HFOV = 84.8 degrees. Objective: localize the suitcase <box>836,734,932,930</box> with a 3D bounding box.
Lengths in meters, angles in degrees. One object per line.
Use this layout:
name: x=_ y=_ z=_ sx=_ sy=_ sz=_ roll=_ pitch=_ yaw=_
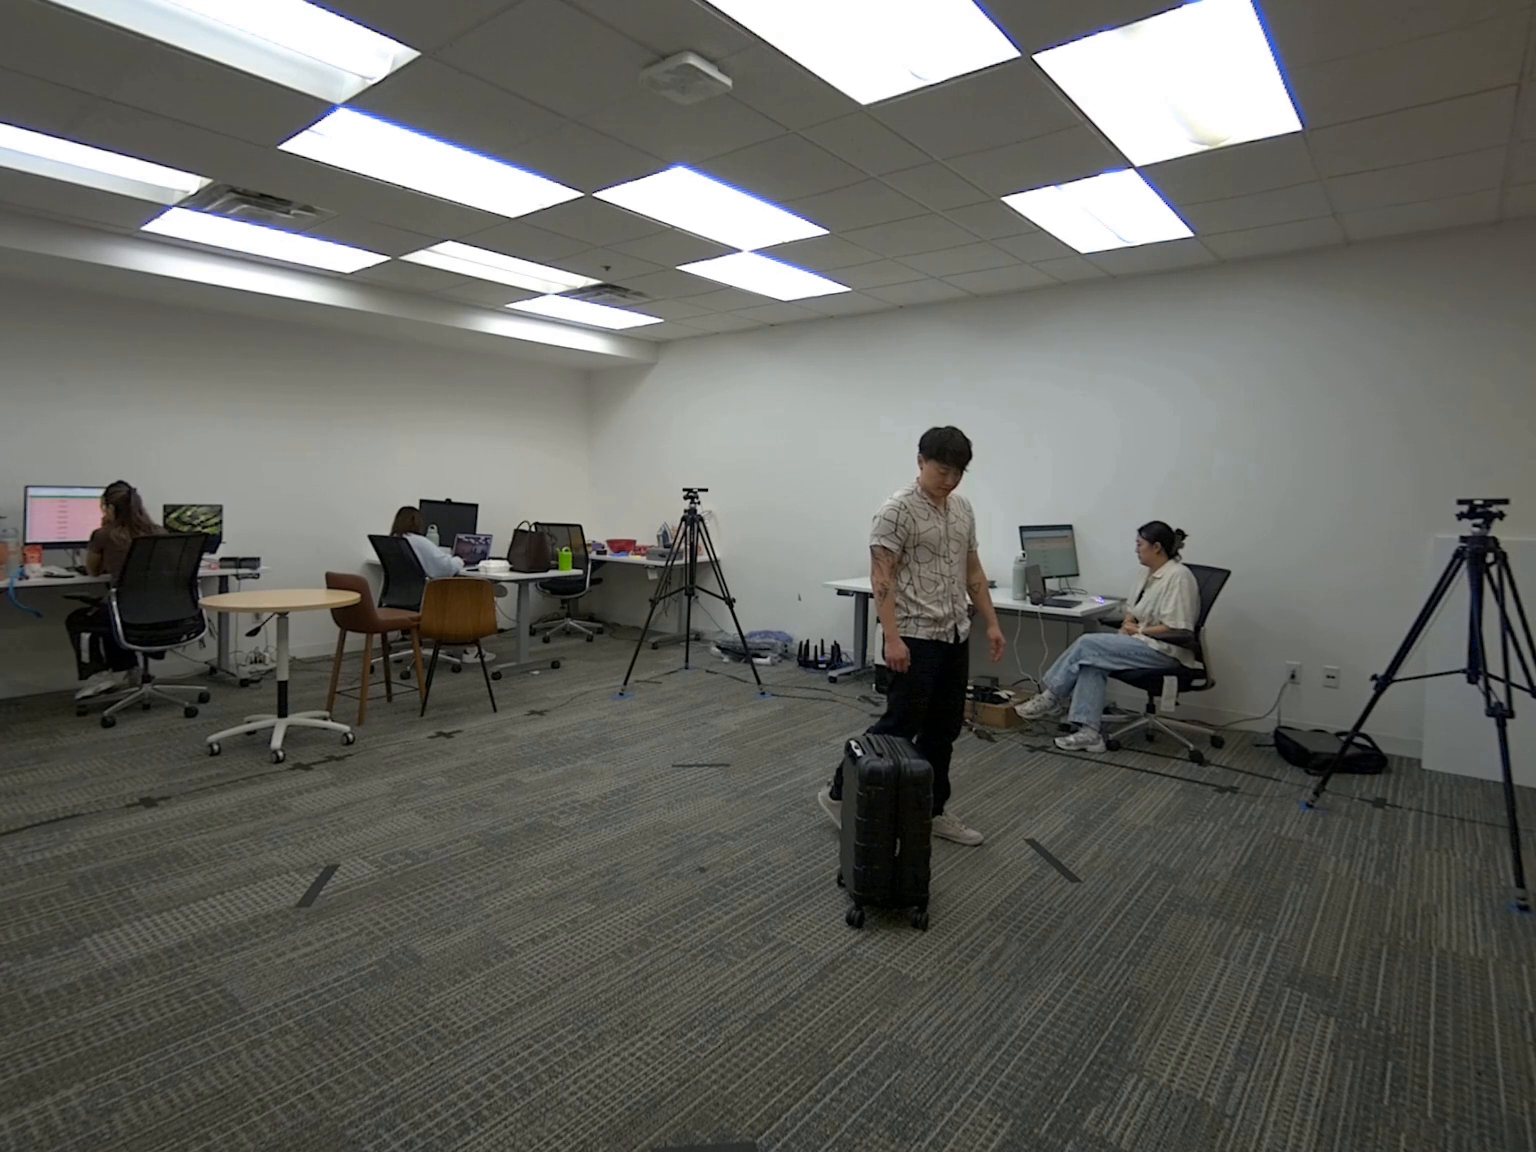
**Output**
suitcase: x=0.388 y=0.830 z=2.878 sx=0.248 sy=0.548 sz=0.377 roll=1 pitch=2 yaw=-3
